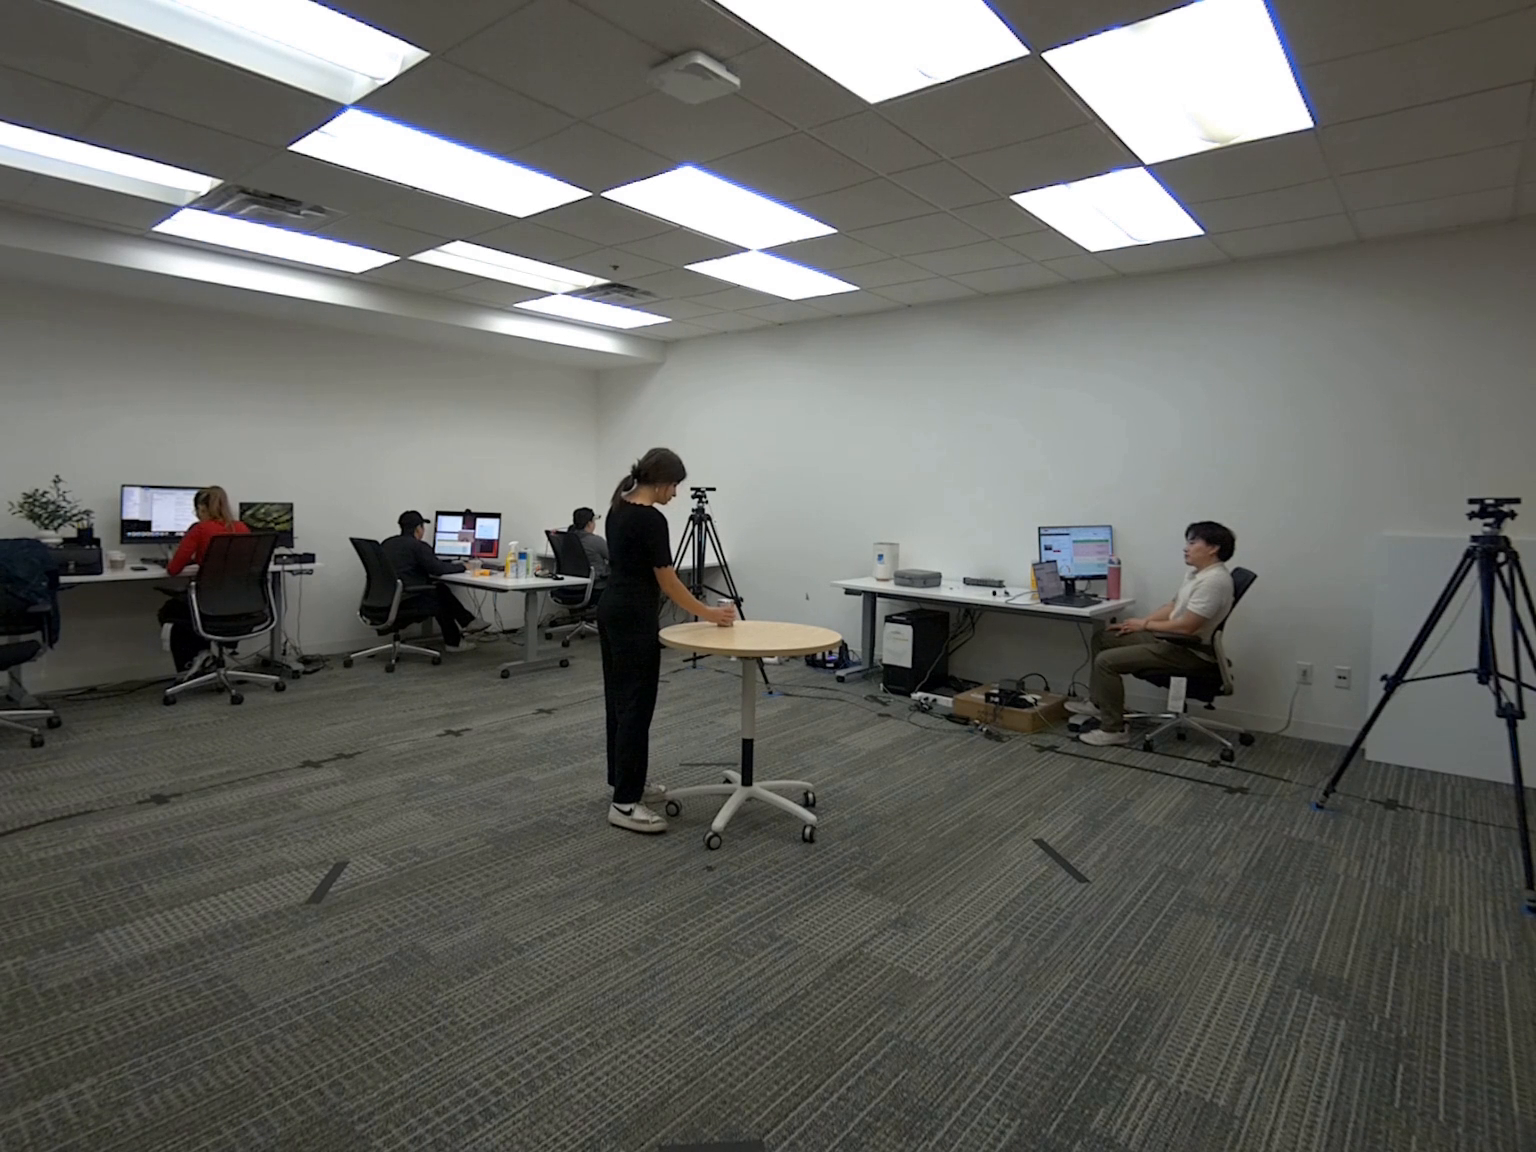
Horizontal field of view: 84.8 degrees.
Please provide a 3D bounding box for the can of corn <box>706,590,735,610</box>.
[{"bbox_3d":[-0.201,0.164,3.786,0.074,0.110,0.074,1,4,-2],"label":"can of corn"}]
